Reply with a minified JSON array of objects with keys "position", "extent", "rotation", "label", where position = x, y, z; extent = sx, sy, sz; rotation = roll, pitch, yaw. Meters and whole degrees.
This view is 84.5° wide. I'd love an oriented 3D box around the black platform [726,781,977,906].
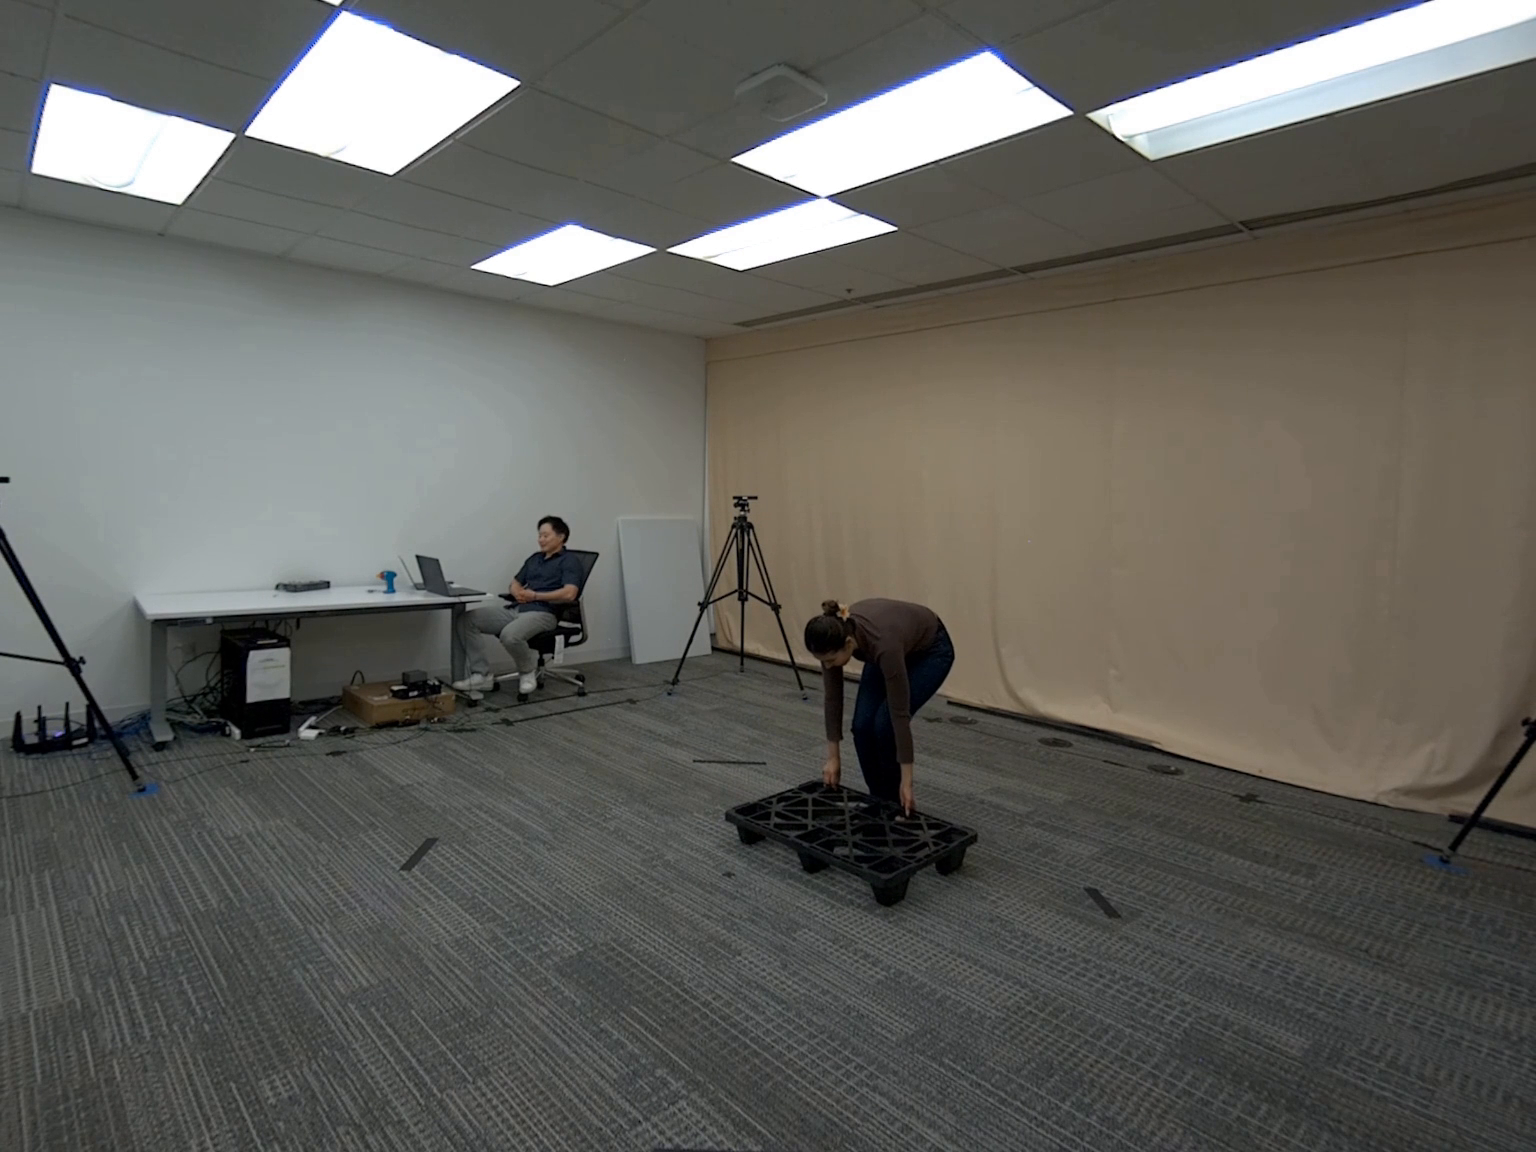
[{"position":[0.303,1.025,3.291],"extent":[0.592,0.143,0.826],"rotation":[-6,9,-44],"label":"black platform"}]
